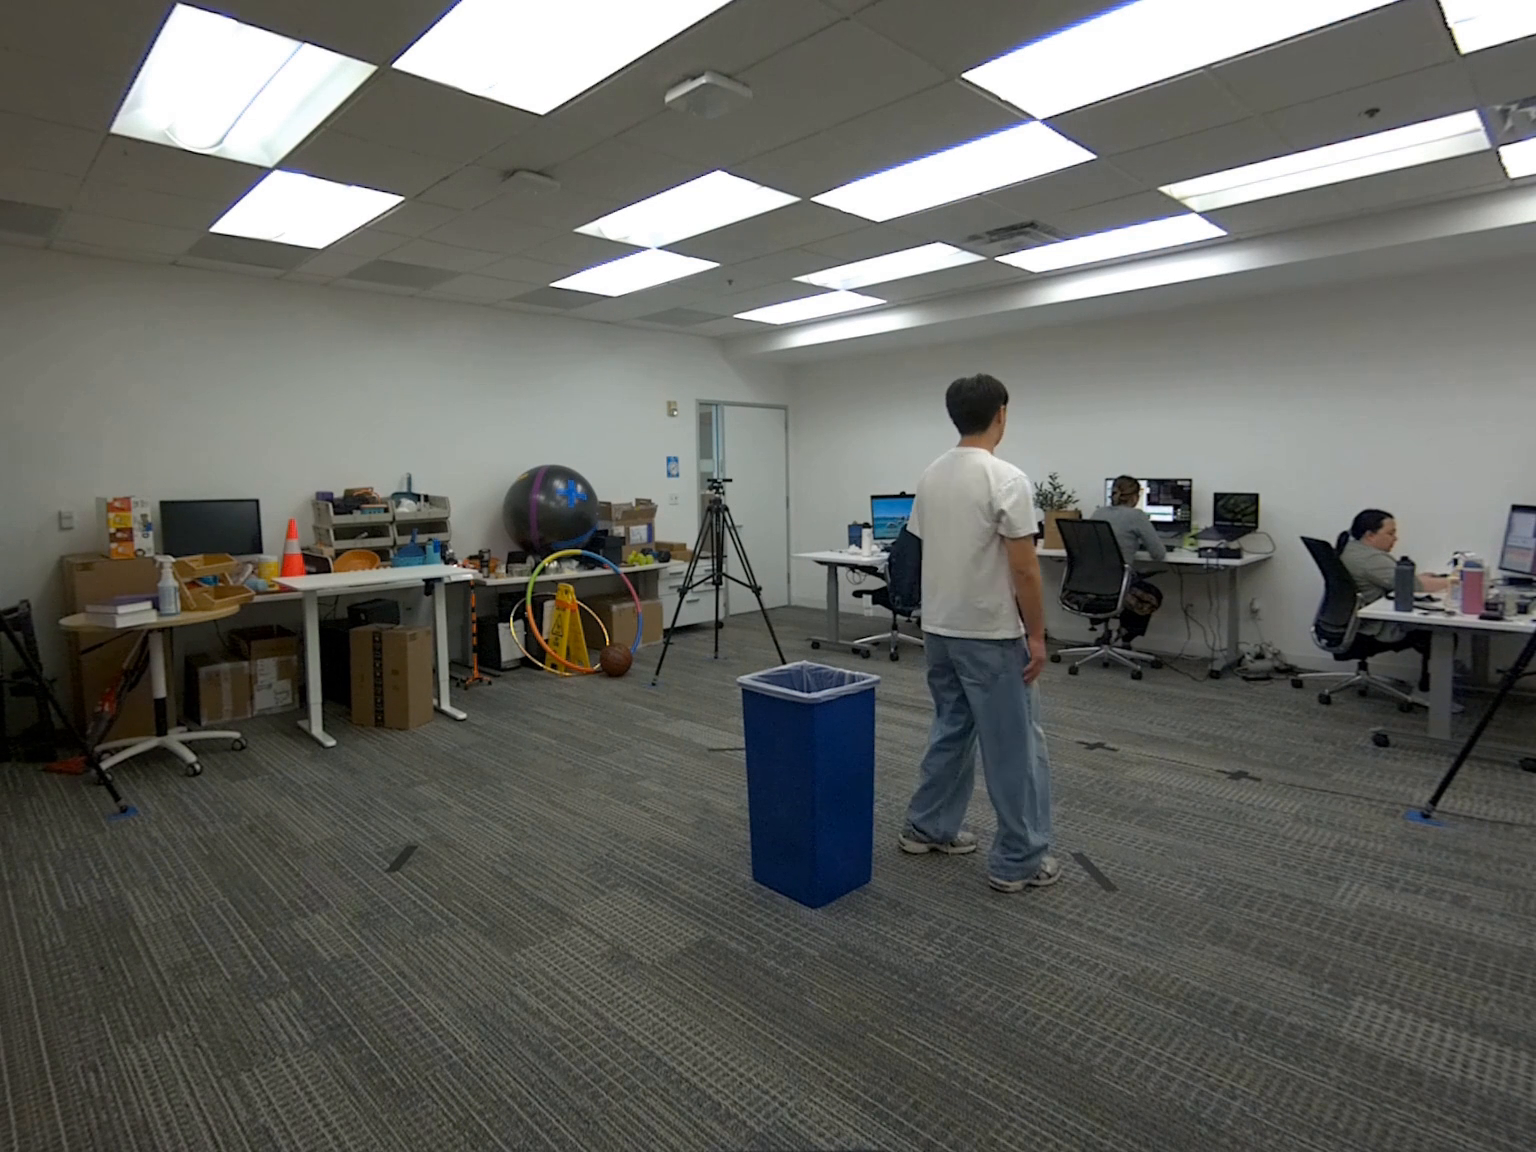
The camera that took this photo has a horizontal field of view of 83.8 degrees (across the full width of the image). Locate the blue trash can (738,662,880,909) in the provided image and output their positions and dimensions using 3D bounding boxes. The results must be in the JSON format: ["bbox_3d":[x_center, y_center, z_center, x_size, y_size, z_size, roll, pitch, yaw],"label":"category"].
[{"bbox_3d":[0.147,0.701,2.941,0.364,0.711,0.389,-4,5,-44],"label":"blue trash can"}]
